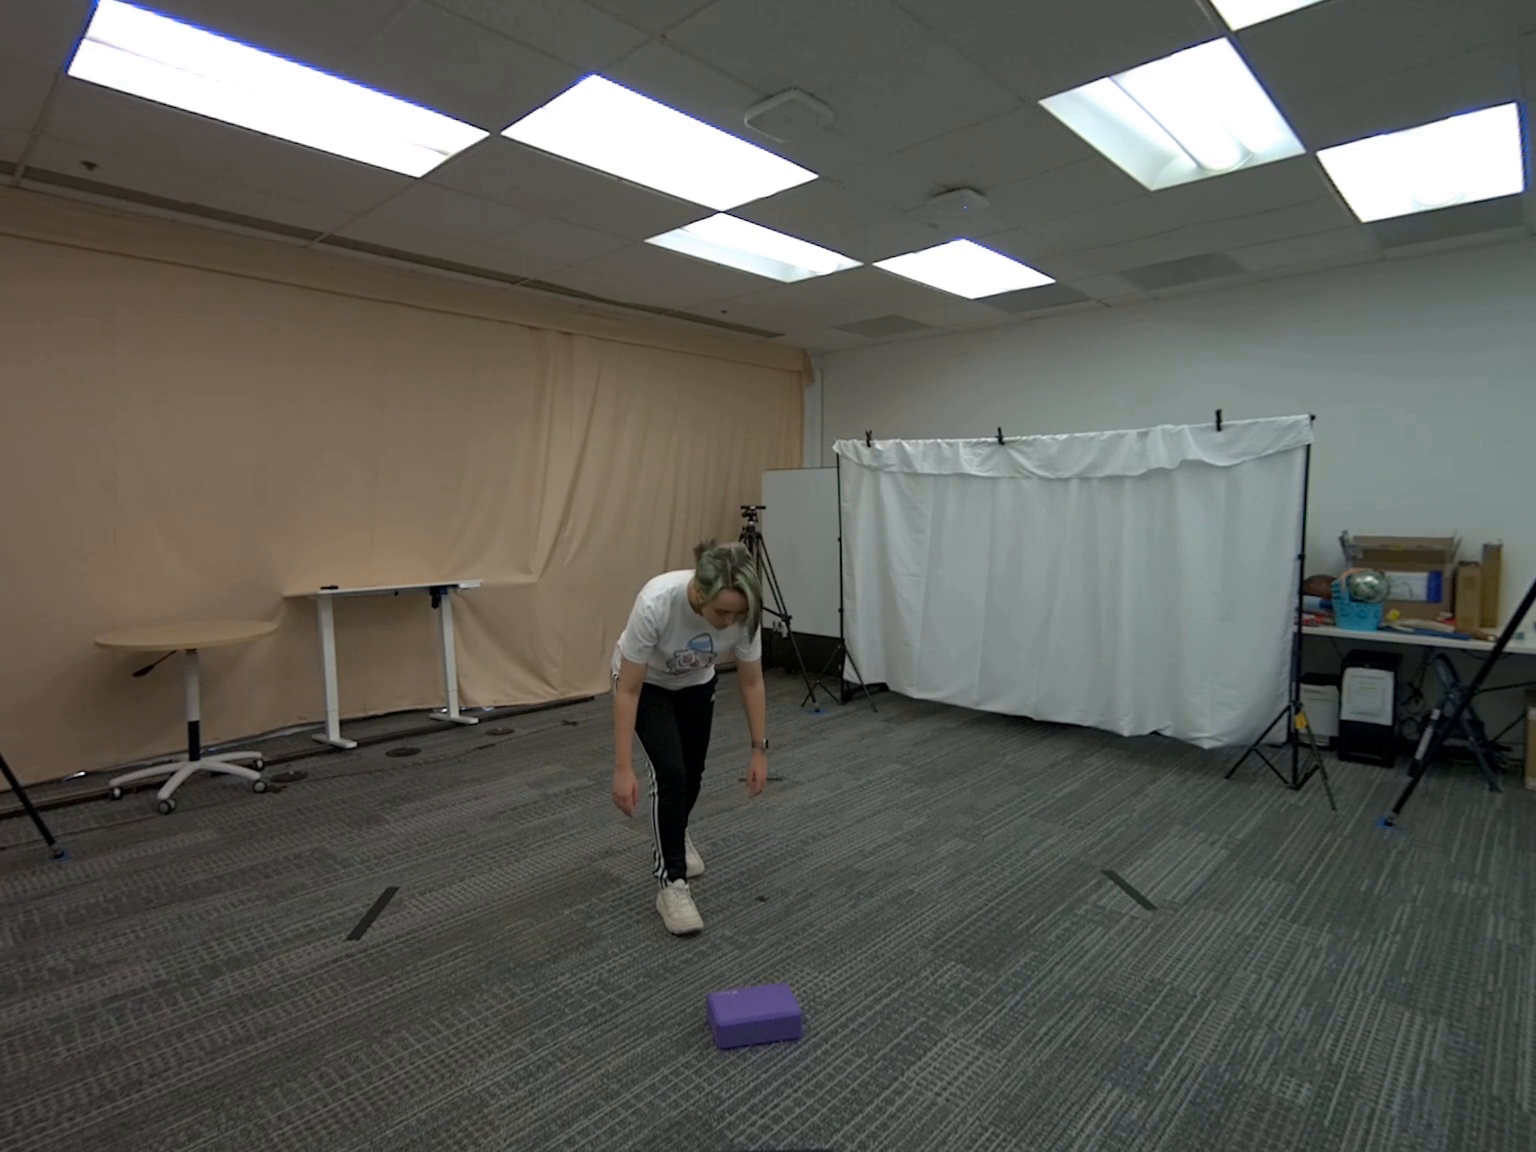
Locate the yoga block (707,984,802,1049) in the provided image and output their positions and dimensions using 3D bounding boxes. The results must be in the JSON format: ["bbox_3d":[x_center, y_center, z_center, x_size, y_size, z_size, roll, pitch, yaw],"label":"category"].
[{"bbox_3d":[-0.034,1.166,2.237,0.226,0.076,0.151,-1,5,-12],"label":"yoga block"}]
